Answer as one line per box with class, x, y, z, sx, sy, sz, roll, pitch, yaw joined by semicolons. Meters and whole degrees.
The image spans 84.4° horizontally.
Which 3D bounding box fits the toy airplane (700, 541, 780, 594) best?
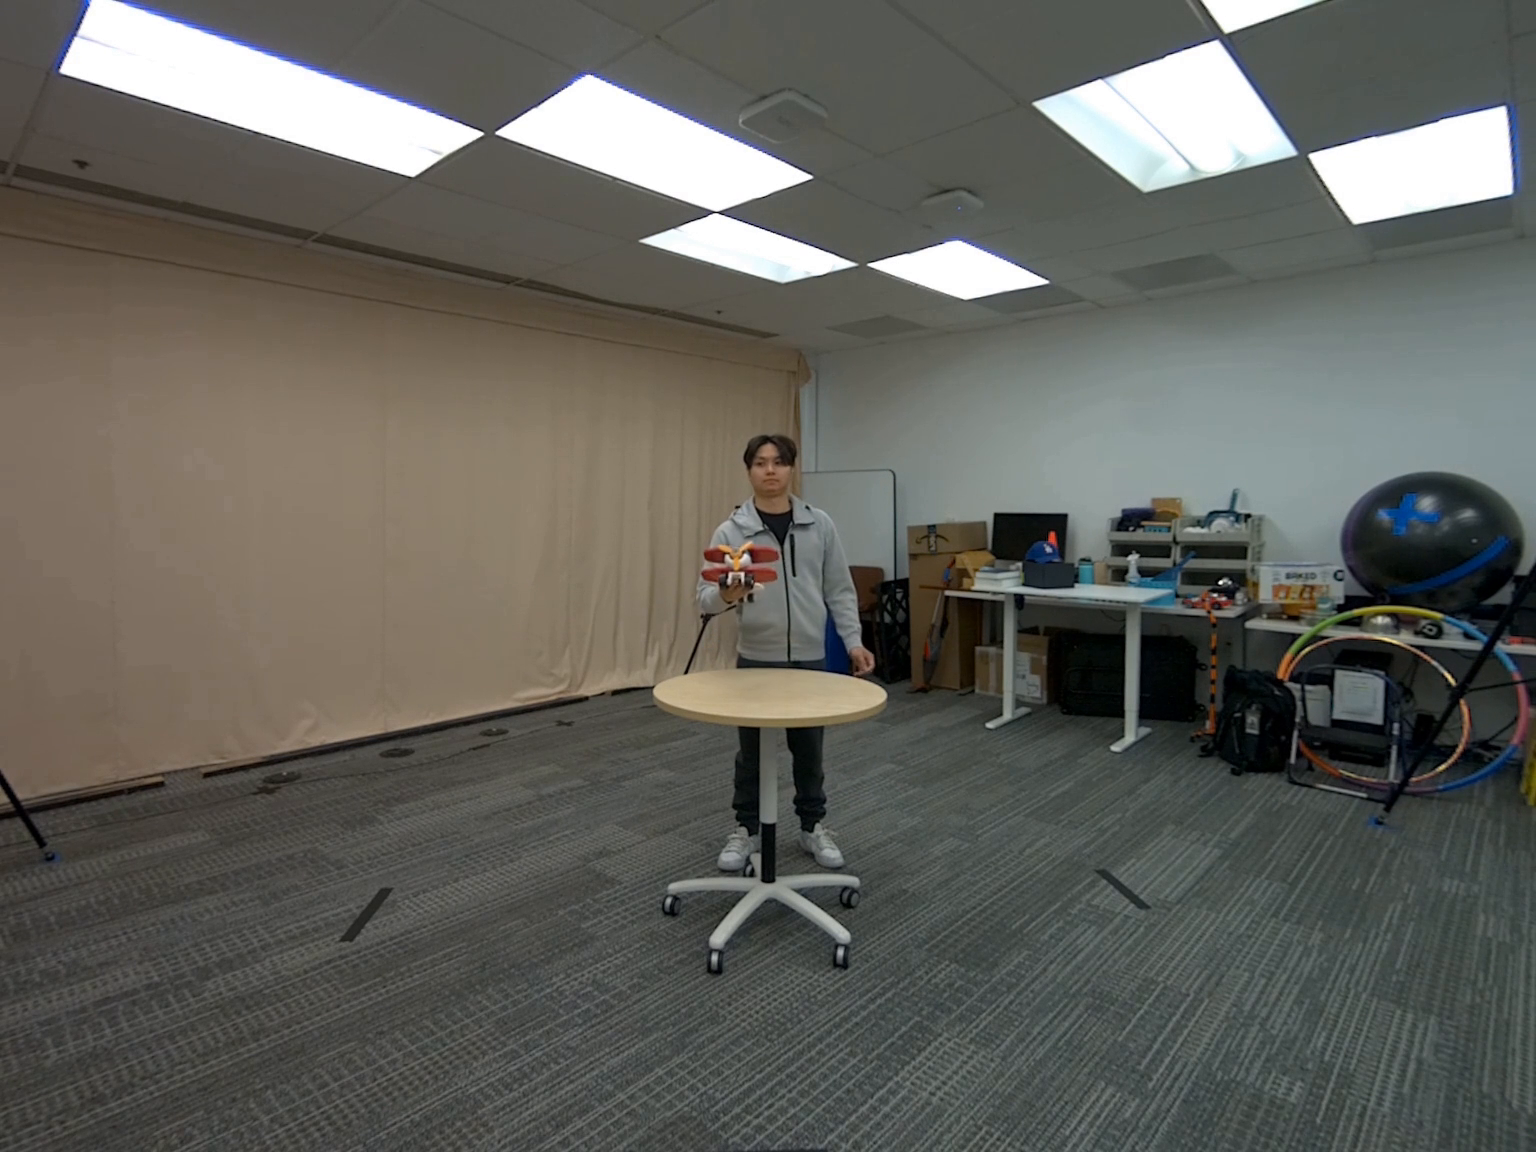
toy airplane;-0.109;0.002;2.858;0.246;0.158;0.262;9;-18;-19
